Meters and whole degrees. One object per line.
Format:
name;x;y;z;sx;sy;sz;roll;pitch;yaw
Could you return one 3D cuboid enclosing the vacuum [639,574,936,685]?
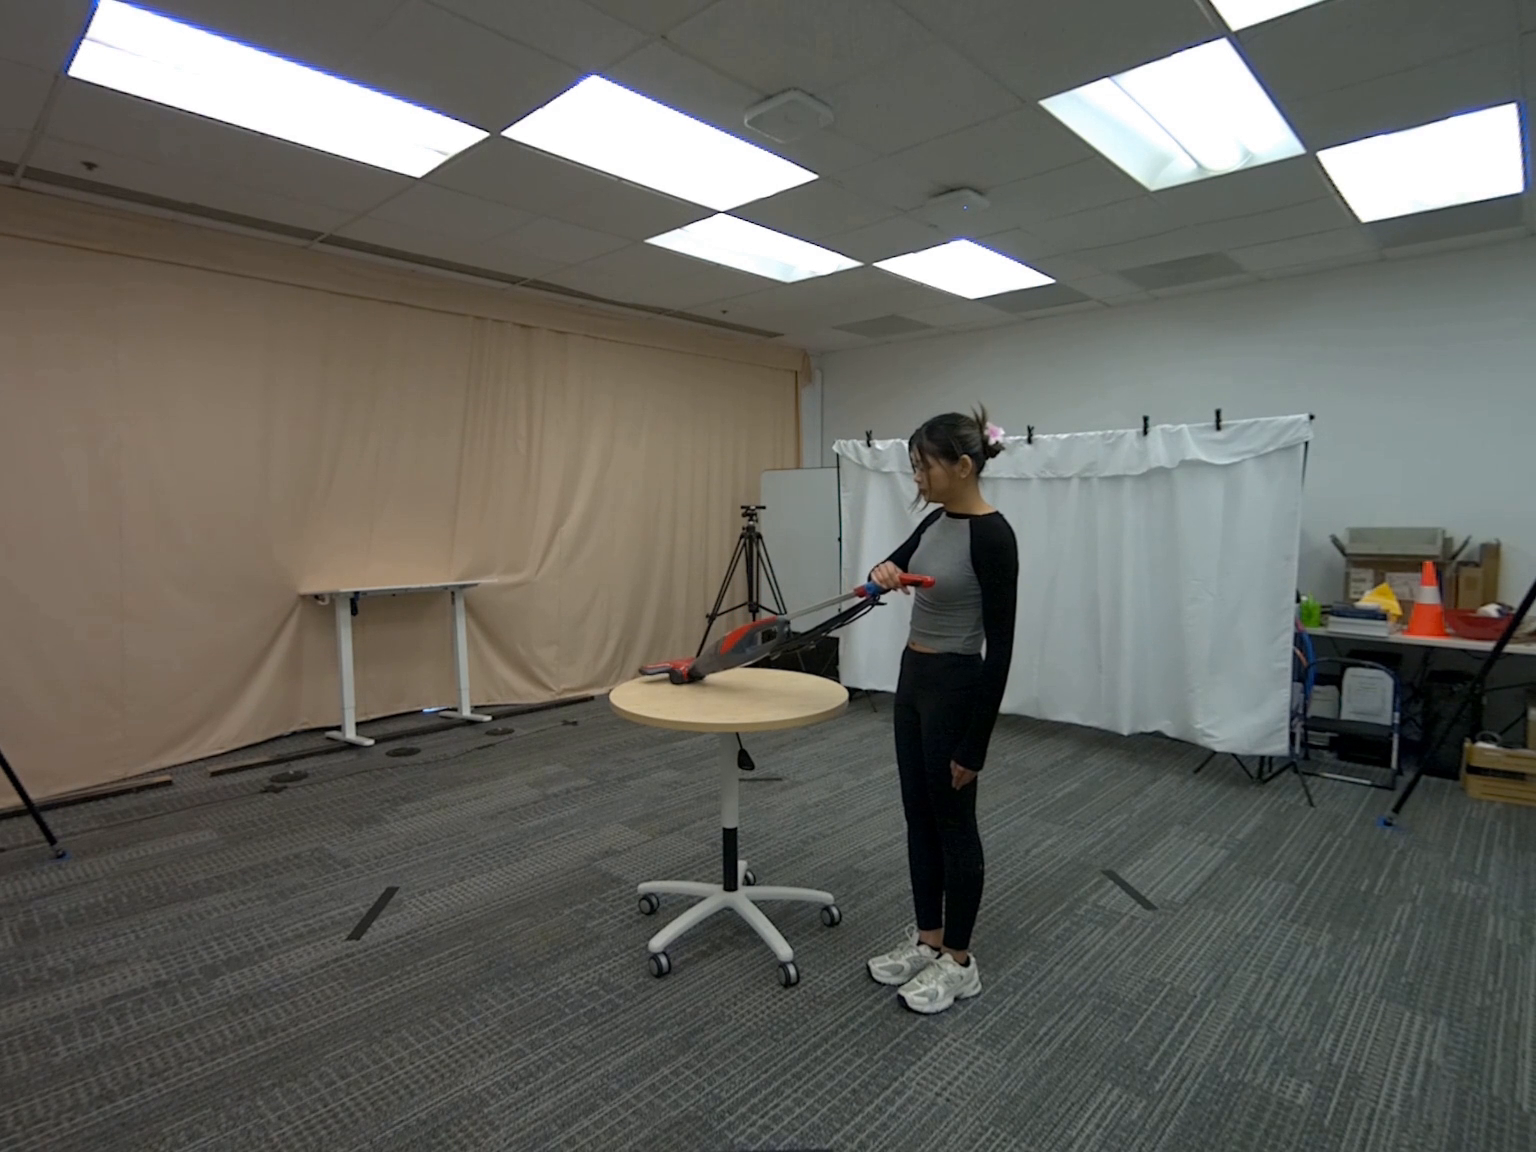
vacuum;0.036;0.184;2.554;1.072;0.145;0.245;-22;-11;42
